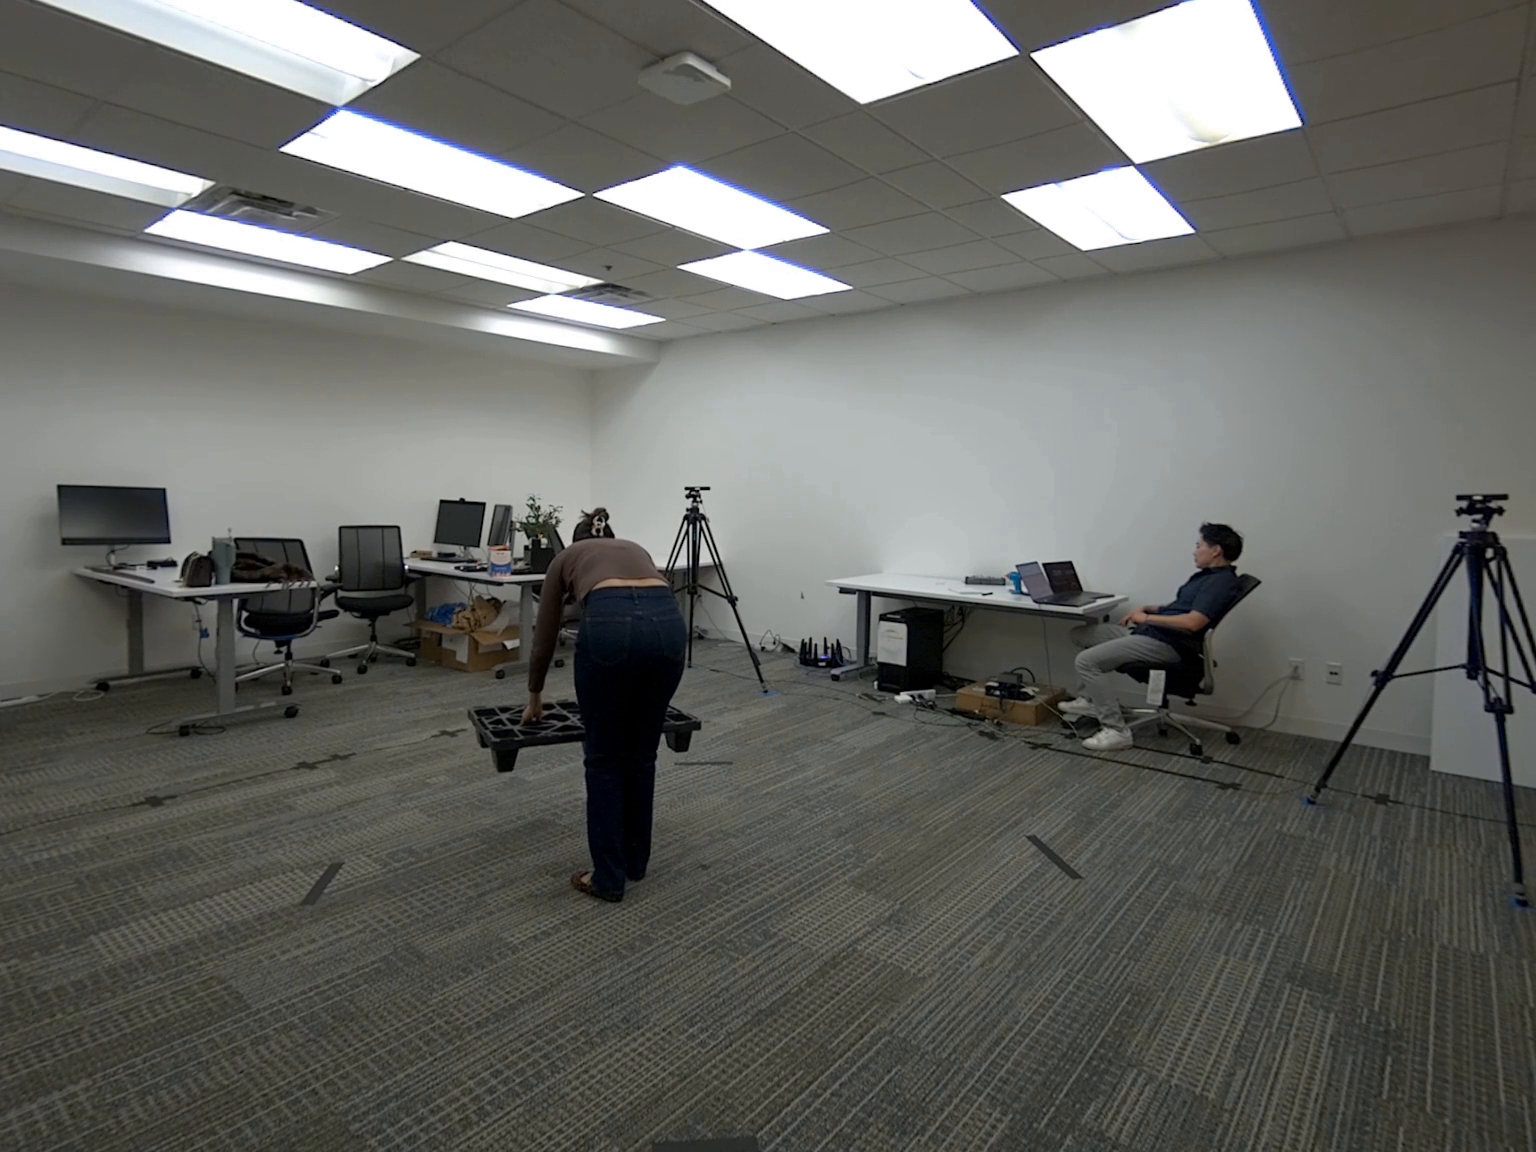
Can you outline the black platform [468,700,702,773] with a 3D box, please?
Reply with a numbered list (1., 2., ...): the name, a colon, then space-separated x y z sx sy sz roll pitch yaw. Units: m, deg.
1. black platform: -0.762 0.618 3.392 0.786 0.143 0.621 -1 3 -26
